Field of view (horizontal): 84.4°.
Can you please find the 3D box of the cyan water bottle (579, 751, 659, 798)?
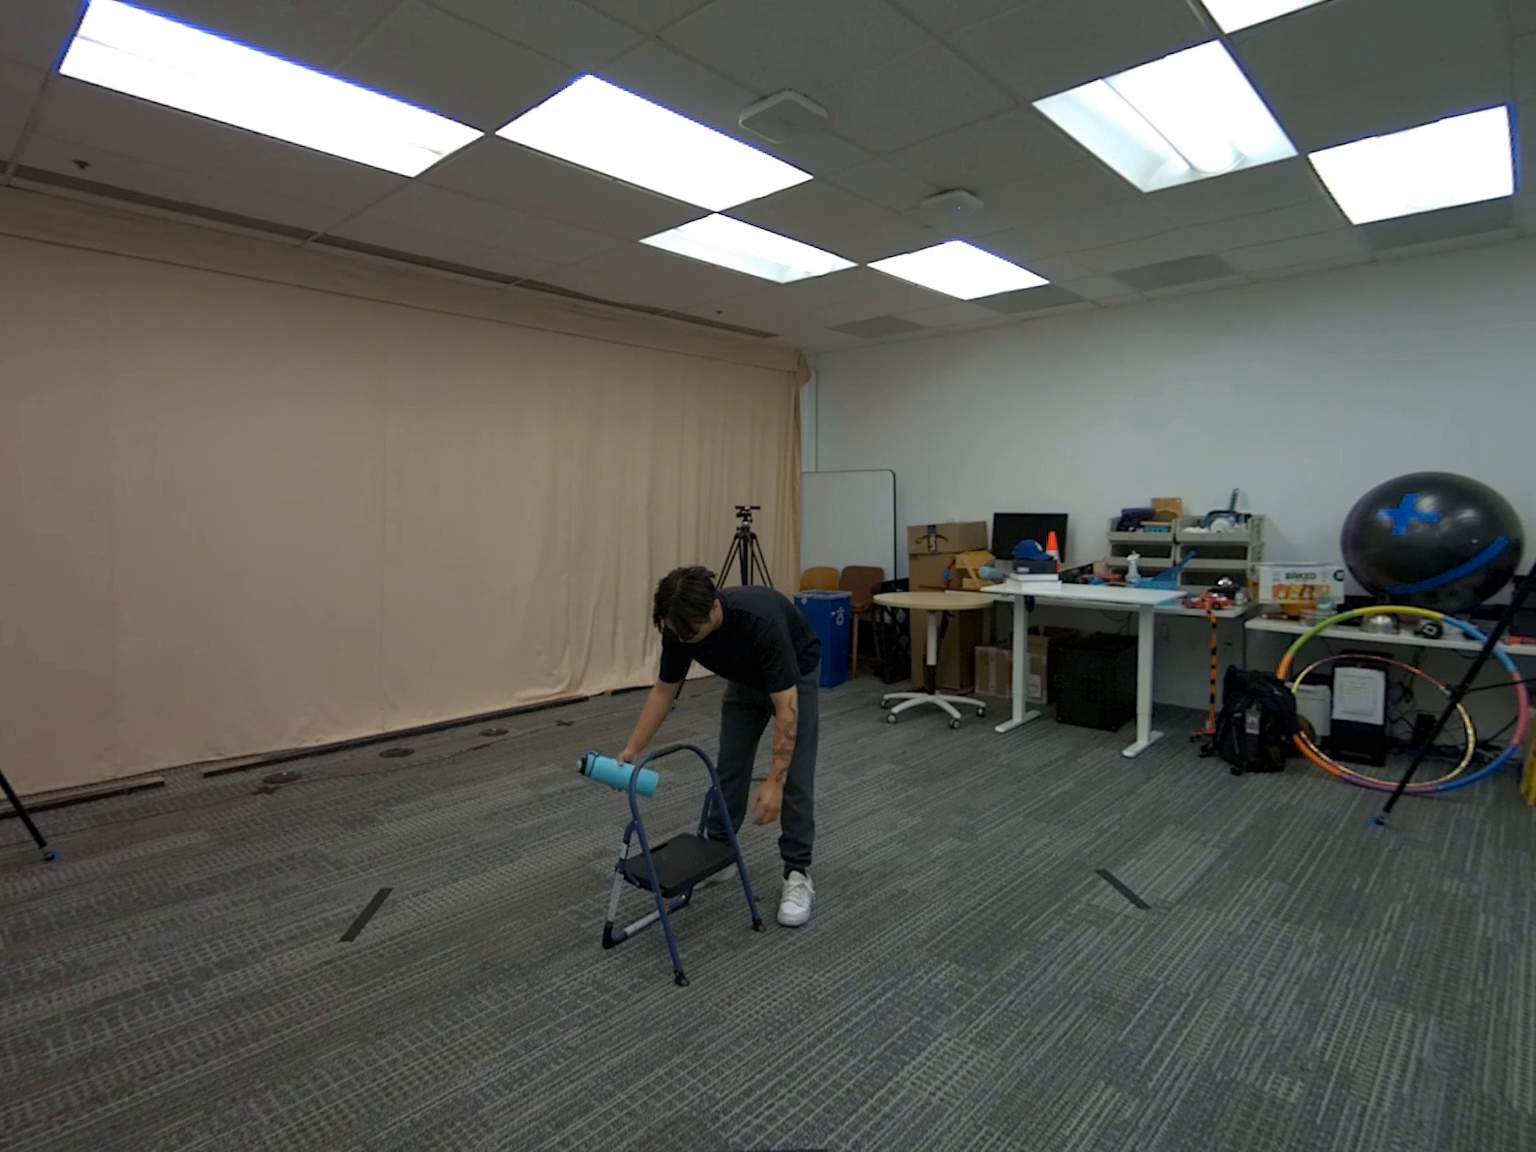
[{"bbox_3d":[-0.516,0.686,2.916,0.281,0.092,0.093,22,1,-6],"label":"cyan water bottle"}]
